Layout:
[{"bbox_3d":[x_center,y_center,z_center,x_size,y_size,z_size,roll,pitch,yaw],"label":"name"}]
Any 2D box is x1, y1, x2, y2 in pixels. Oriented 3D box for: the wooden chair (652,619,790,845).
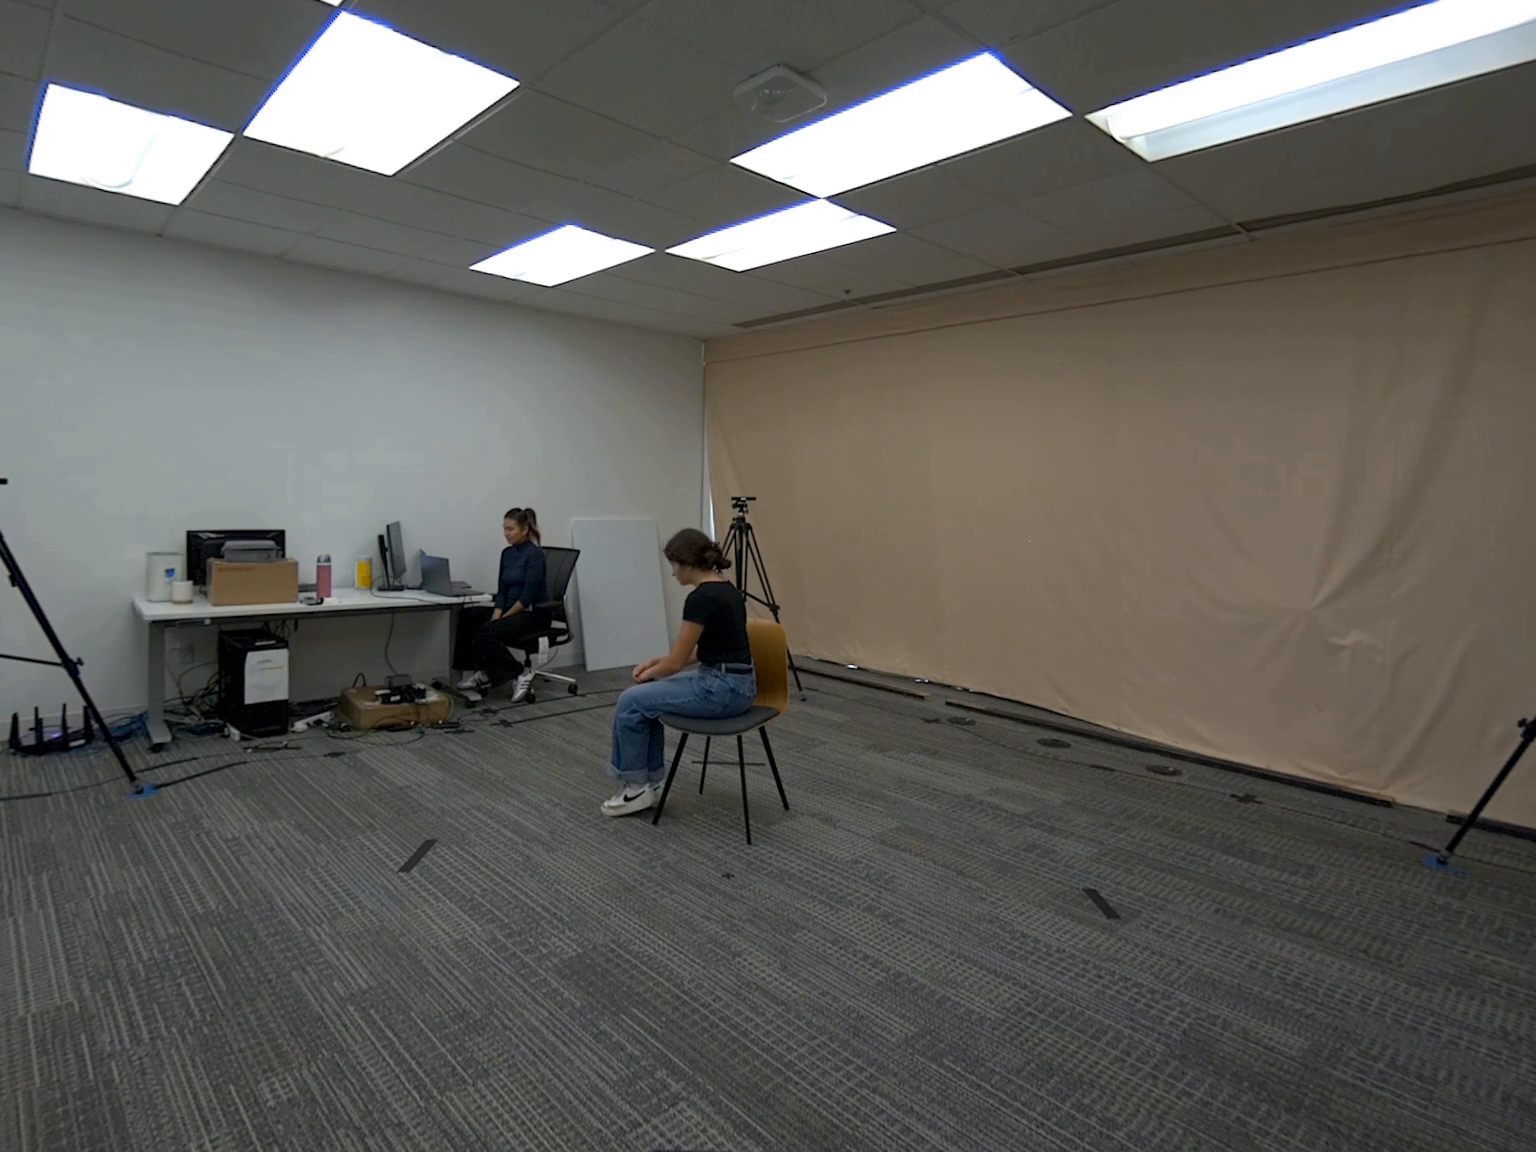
[{"bbox_3d":[-0.192,0.635,3.649,0.487,0.878,0.513,1,-1,24],"label":"wooden chair"}]
